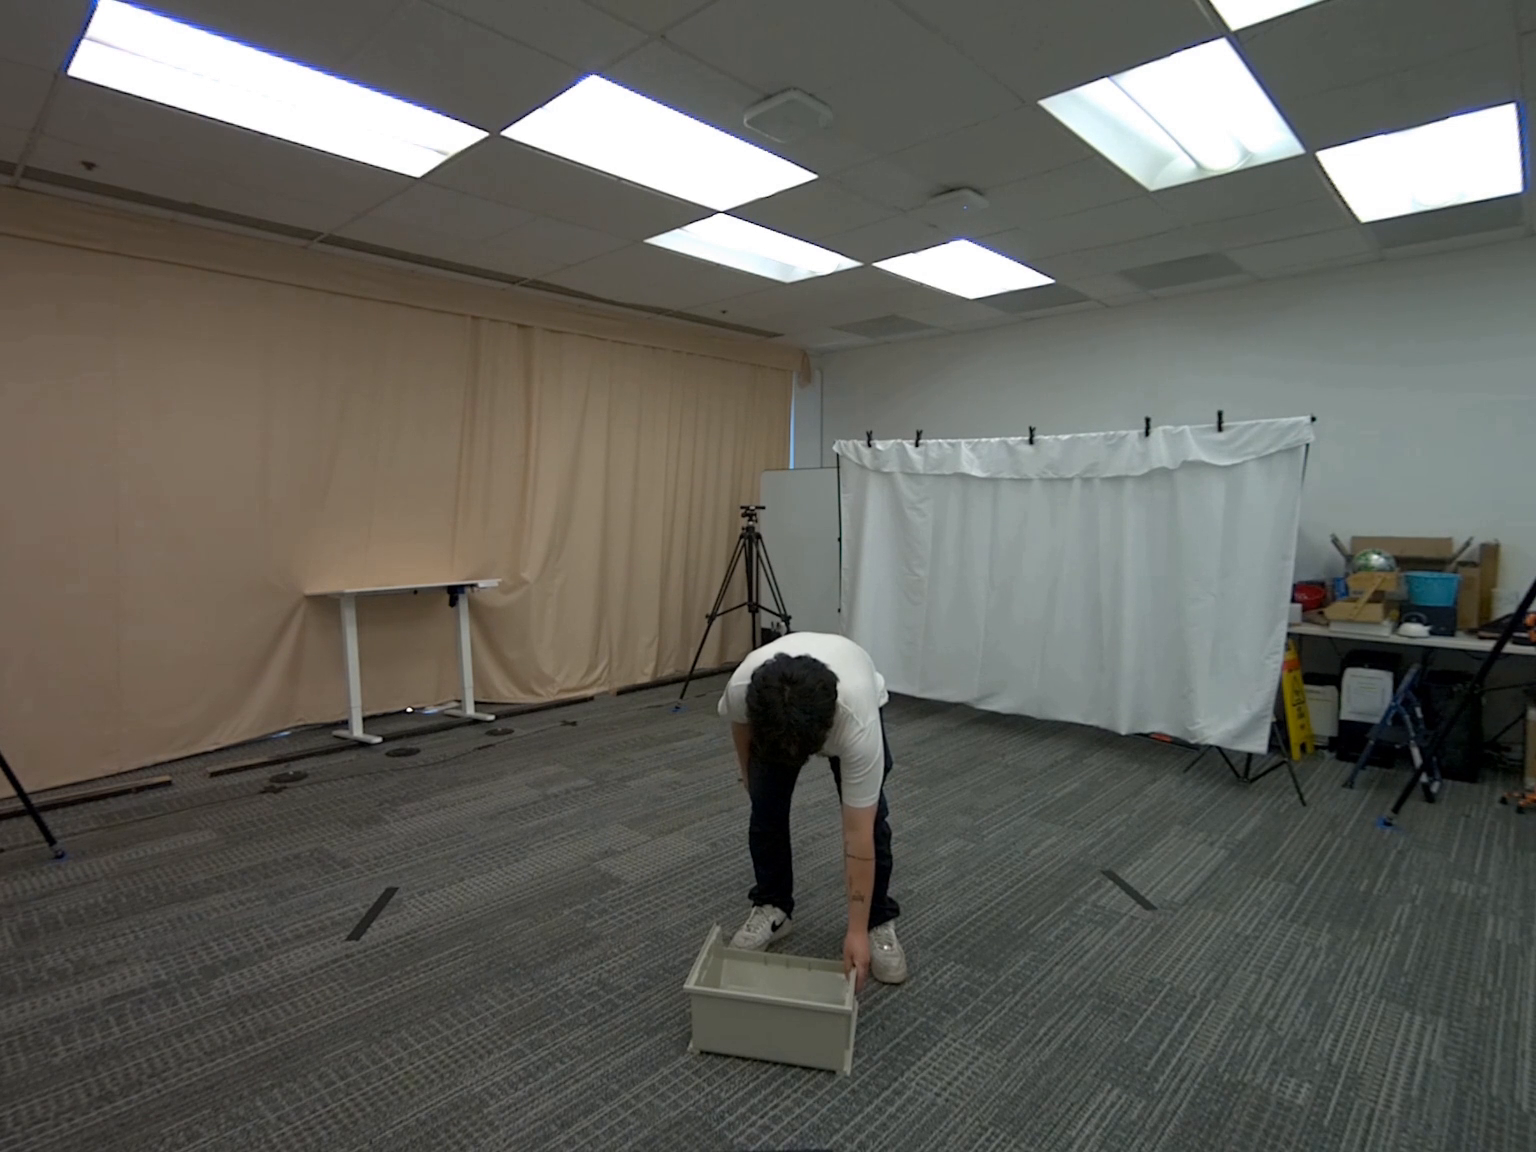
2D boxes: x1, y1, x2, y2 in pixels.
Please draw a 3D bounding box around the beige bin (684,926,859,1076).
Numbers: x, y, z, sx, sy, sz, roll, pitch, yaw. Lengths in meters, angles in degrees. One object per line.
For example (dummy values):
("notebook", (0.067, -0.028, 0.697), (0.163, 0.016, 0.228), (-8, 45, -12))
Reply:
("beige bin", (0.027, 1.114, 2.265), (0.428, 0.188, 0.373), (2, 5, 12))
